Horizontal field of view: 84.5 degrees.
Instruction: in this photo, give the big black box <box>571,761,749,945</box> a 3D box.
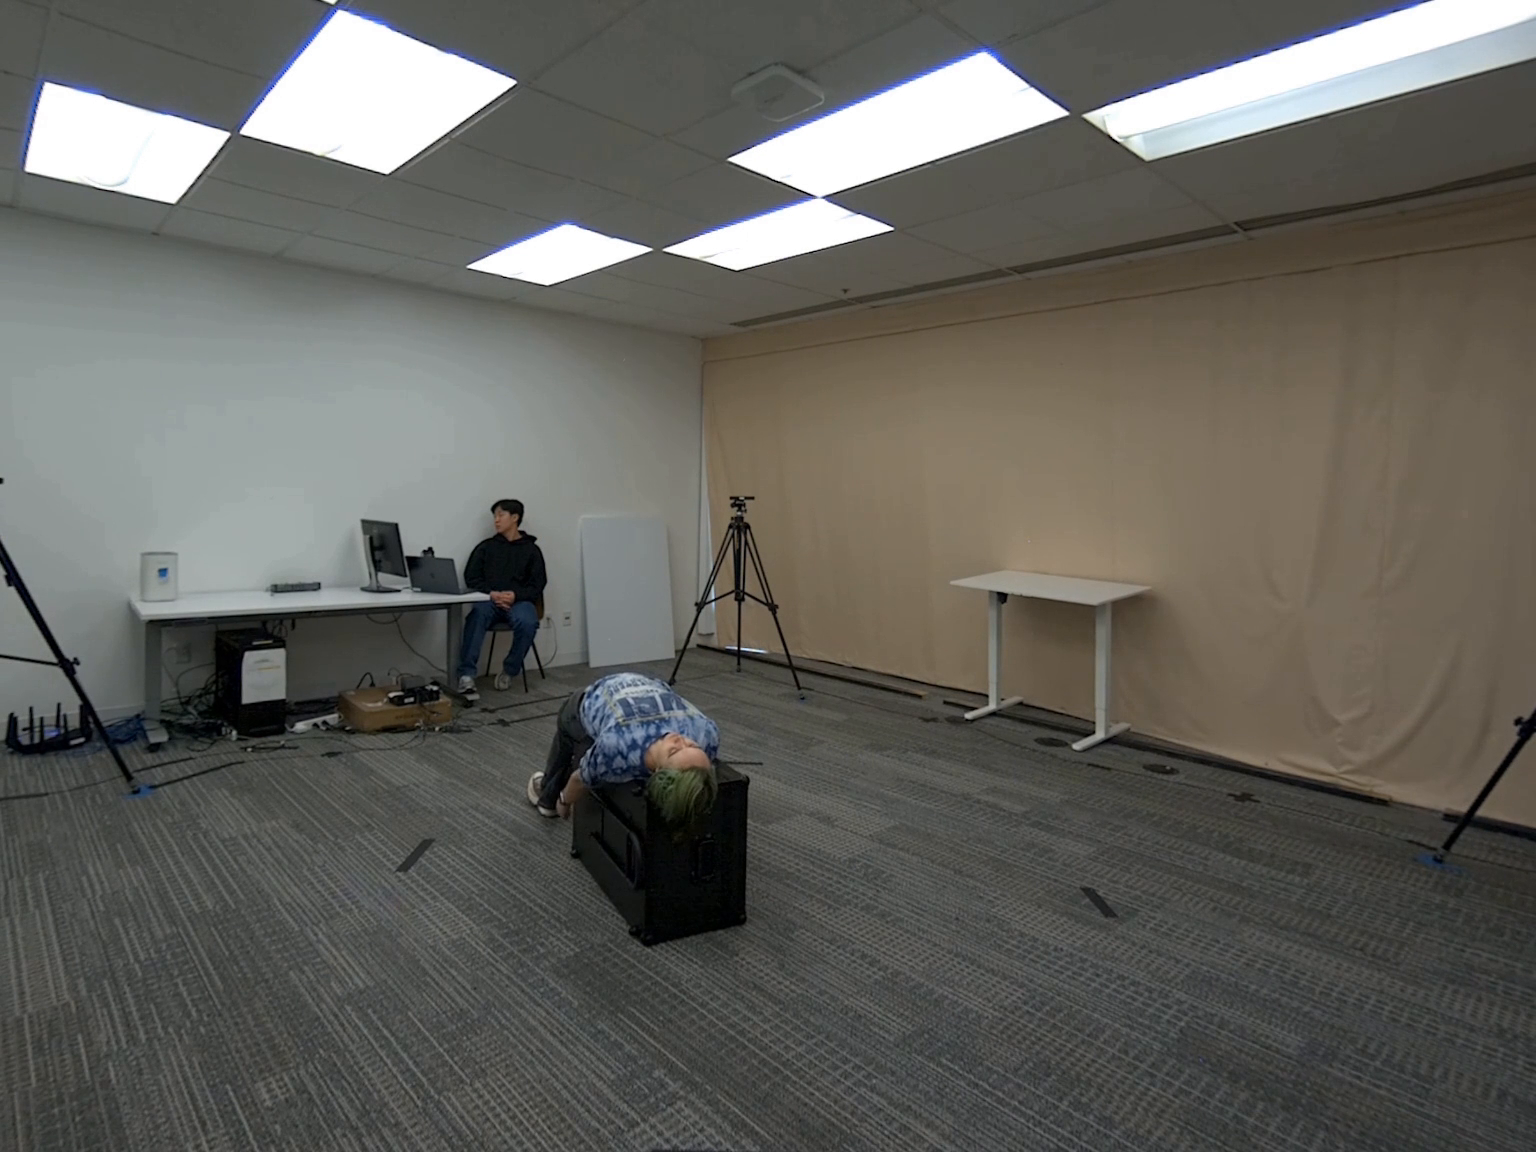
[{"bbox_3d":[-0.440,0.865,3.024,0.389,0.520,0.880,0,4,-28],"label":"big black box"}]
